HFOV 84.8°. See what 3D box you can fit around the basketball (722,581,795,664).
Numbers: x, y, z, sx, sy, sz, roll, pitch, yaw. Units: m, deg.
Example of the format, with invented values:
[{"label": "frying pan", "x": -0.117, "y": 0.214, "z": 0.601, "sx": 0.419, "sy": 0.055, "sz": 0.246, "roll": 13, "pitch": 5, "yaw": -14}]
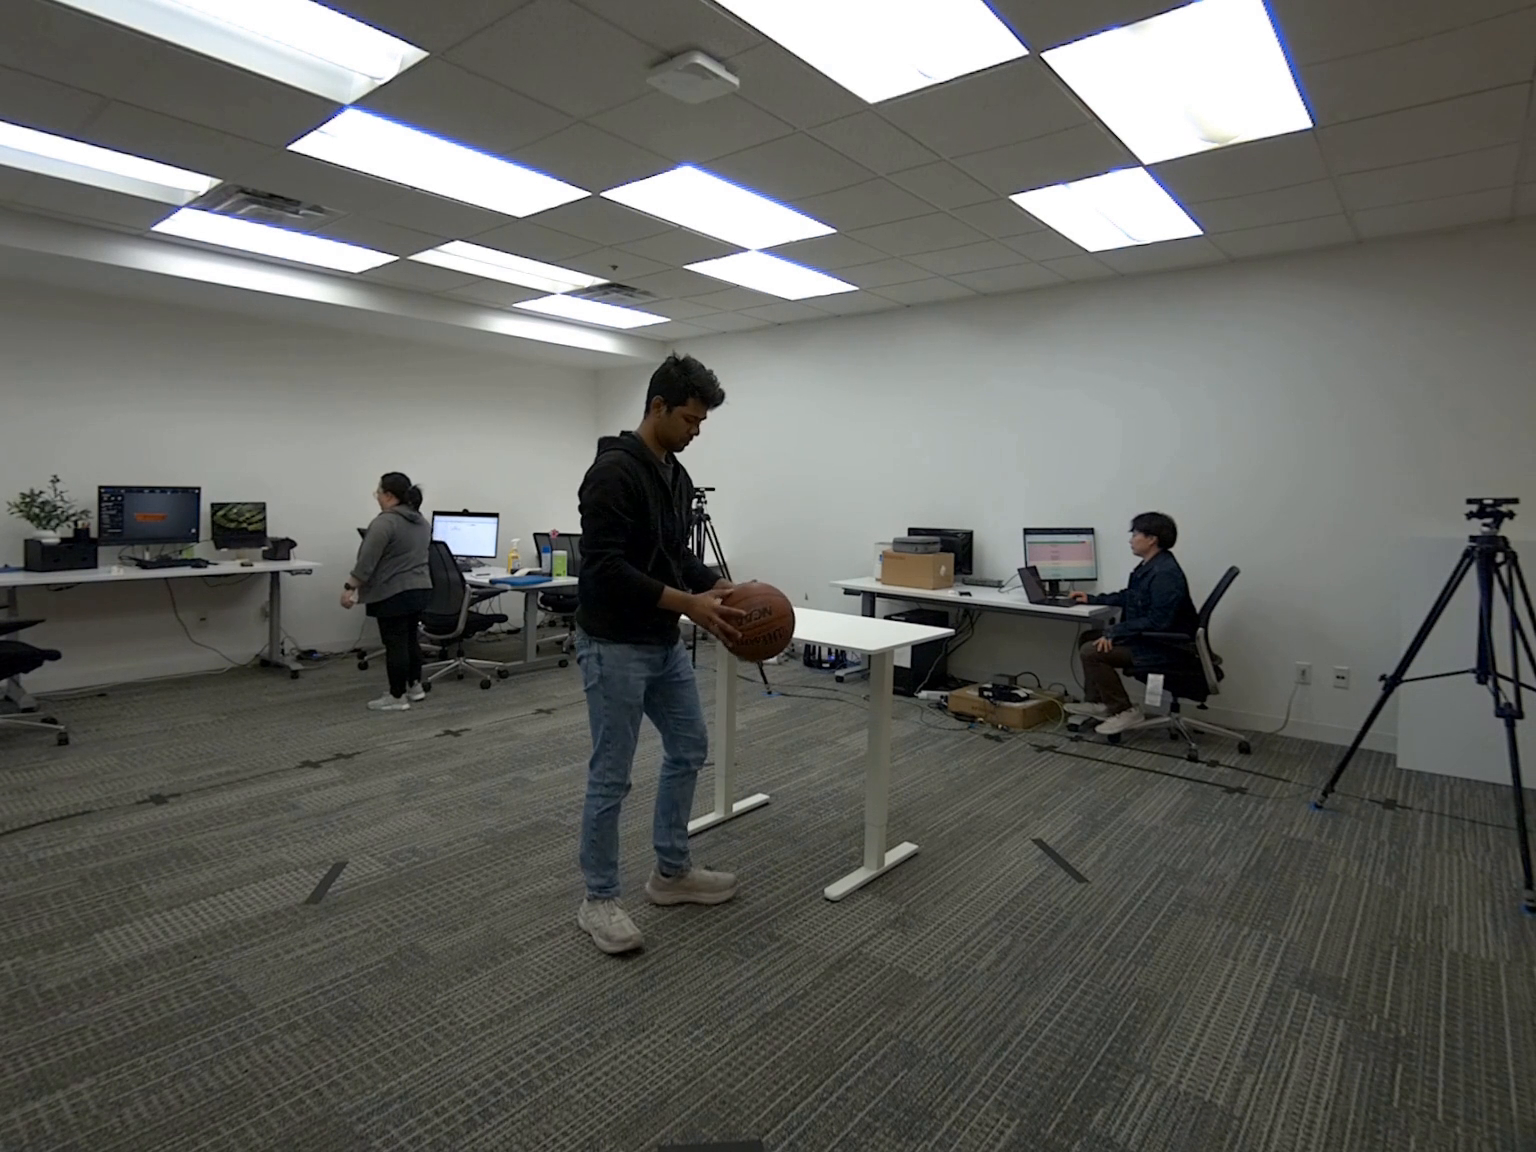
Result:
[{"label": "basketball", "x": -0.042, "y": 0.146, "z": 2.574, "sx": 0.235, "sy": 0.235, "sz": 0.237, "roll": 1, "pitch": 4, "yaw": -2}]
